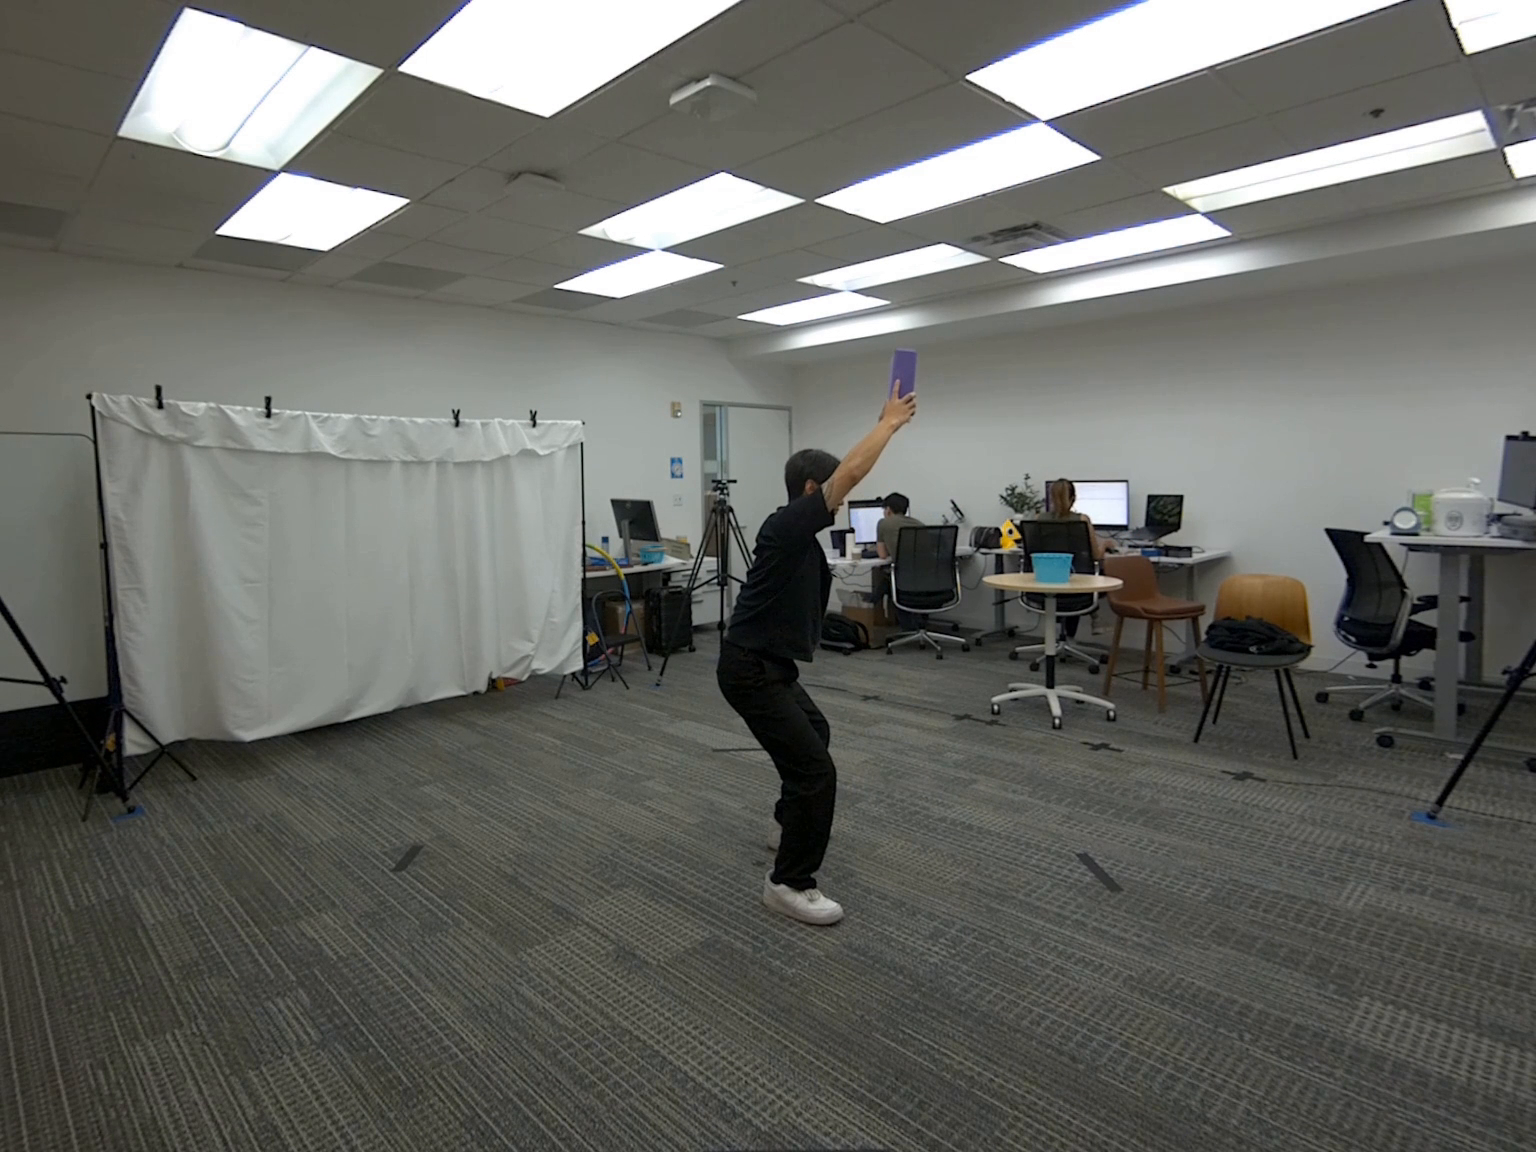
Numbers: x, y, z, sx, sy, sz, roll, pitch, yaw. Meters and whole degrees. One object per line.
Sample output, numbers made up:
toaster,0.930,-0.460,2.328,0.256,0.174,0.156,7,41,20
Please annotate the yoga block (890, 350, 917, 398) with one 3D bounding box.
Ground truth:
yoga block,0.471,-0.660,2.962,0.077,0.230,0.147,5,-3,4
